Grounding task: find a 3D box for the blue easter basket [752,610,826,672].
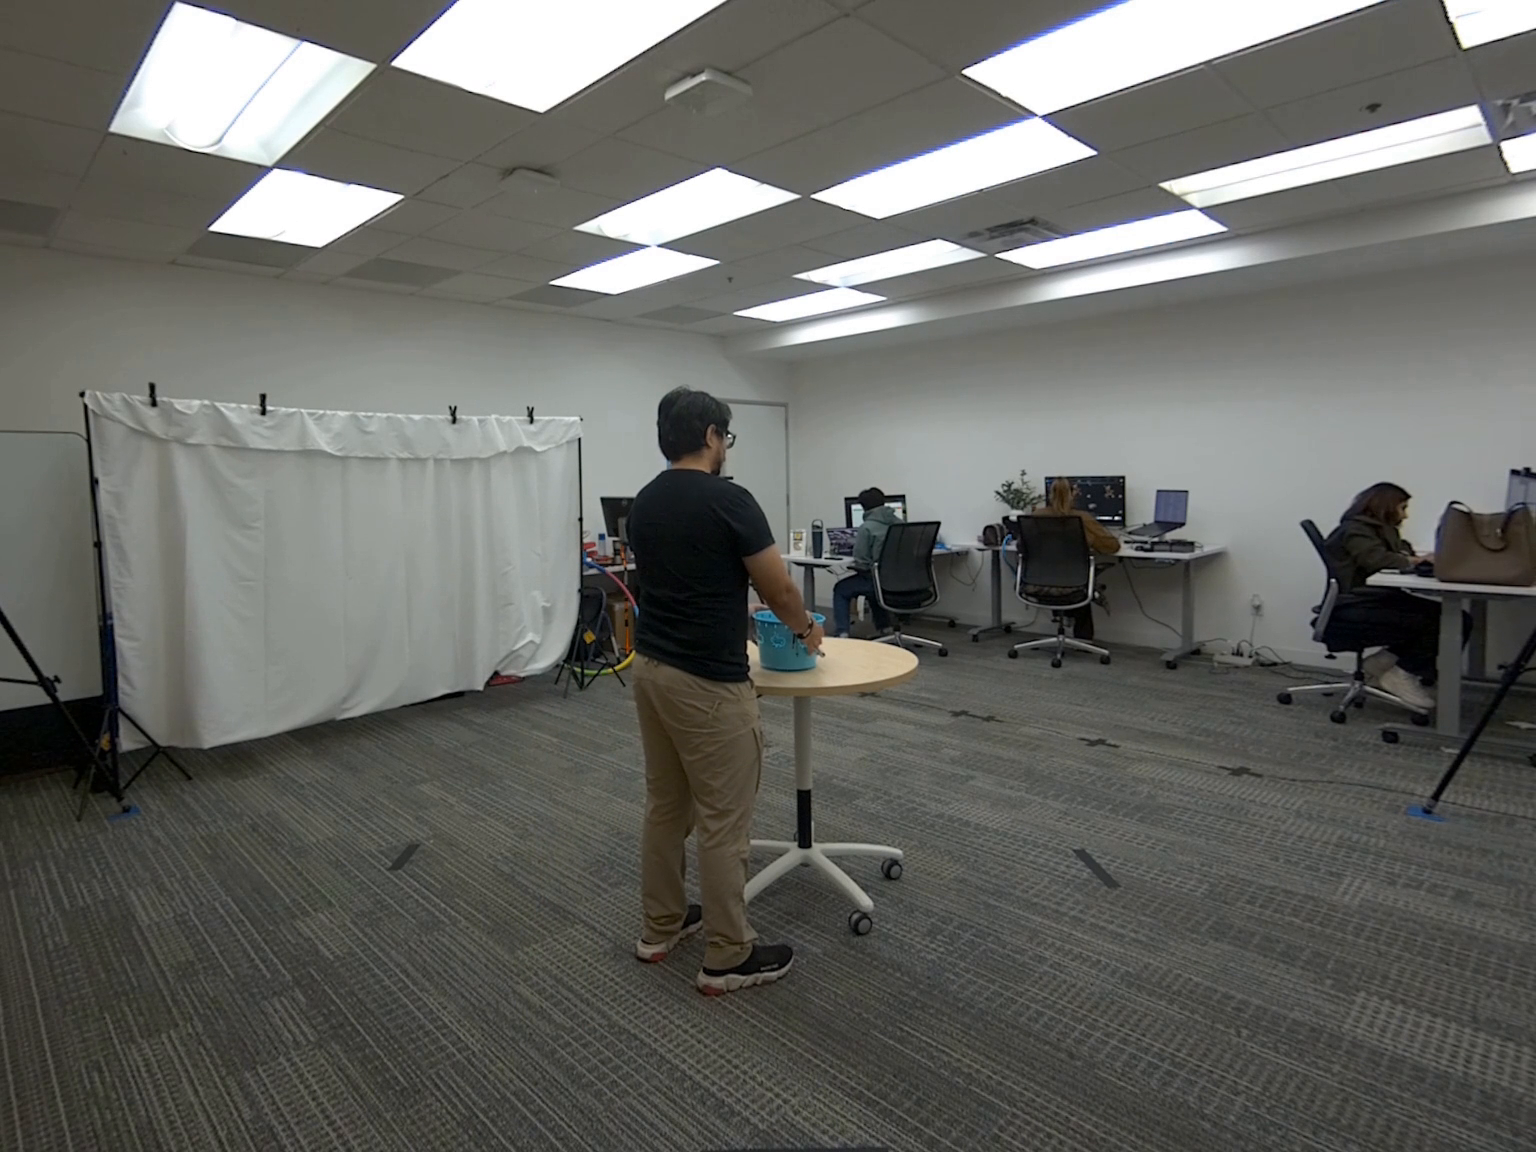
[{"bbox_3d":[0.081,0.211,2.745,0.243,0.155,0.245,0,8,-2],"label":"blue easter basket"}]
